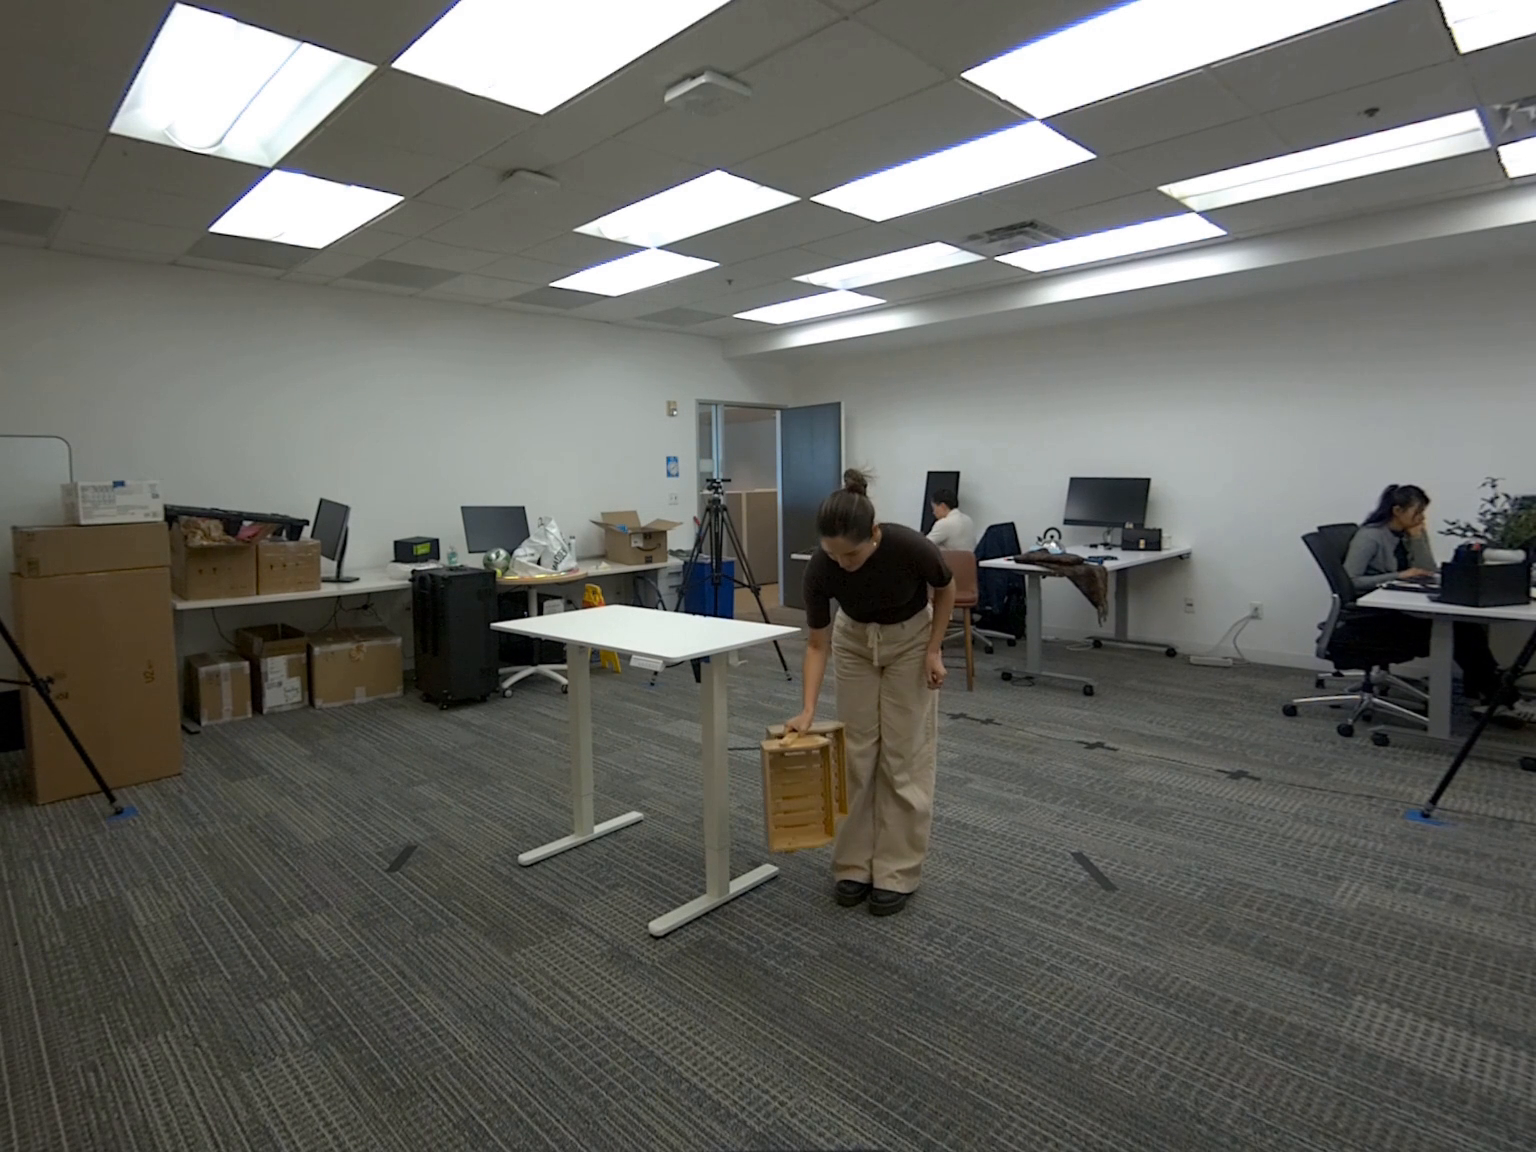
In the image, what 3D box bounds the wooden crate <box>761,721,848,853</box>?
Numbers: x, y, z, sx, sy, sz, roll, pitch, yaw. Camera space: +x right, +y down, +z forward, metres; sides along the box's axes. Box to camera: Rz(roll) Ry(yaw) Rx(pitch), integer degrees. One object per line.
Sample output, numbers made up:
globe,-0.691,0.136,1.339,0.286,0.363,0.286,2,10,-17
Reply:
wooden crate,0.129,0.635,2.603,0.300,0.324,0.275,-4,1,-6
